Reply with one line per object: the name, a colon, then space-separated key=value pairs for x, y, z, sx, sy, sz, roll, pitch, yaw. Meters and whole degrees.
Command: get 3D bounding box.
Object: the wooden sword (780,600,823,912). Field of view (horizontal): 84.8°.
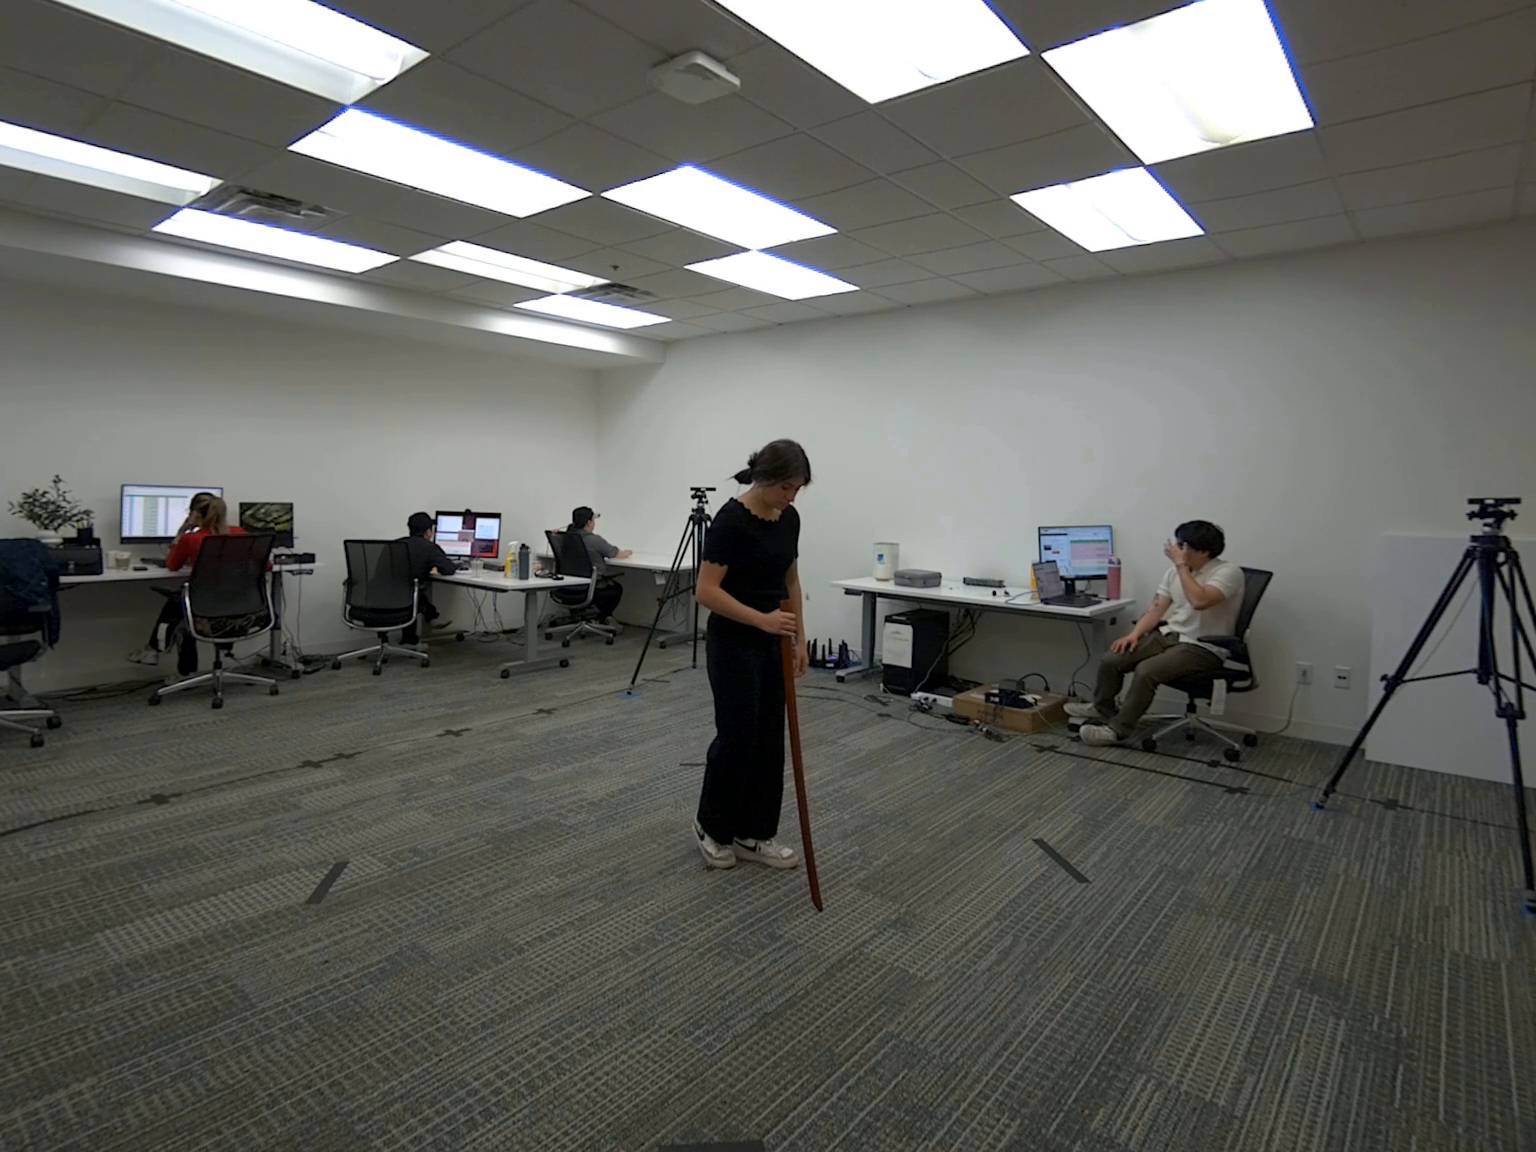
wooden sword: x=0.099 y=0.620 z=2.873 sx=0.050 sy=1.031 sz=0.024 roll=-6 pitch=-6 yaw=-15
